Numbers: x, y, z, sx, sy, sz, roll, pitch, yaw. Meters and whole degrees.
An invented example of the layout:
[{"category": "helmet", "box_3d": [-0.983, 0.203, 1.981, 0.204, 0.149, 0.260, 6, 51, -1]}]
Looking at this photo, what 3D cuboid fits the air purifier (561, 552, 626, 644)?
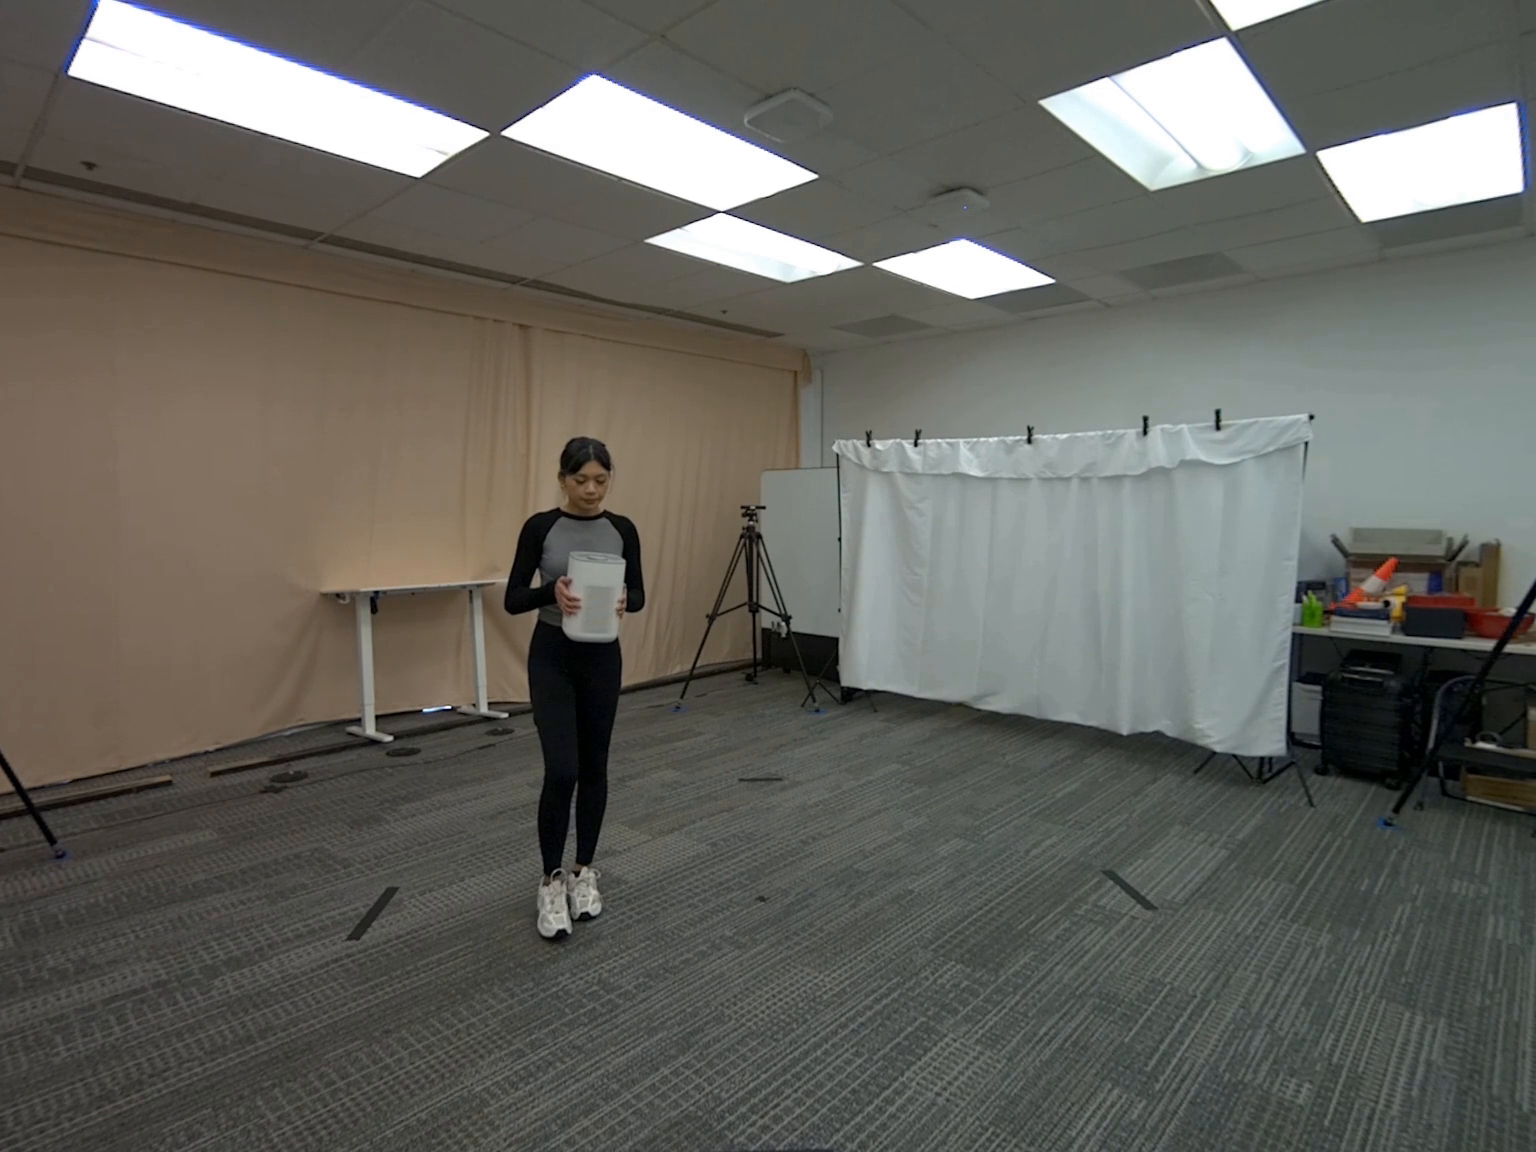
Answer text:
[{"category": "air purifier", "box_3d": [-0.571, 0.067, 2.704, 0.168, 0.264, 0.175, 7, 6, -21]}]
